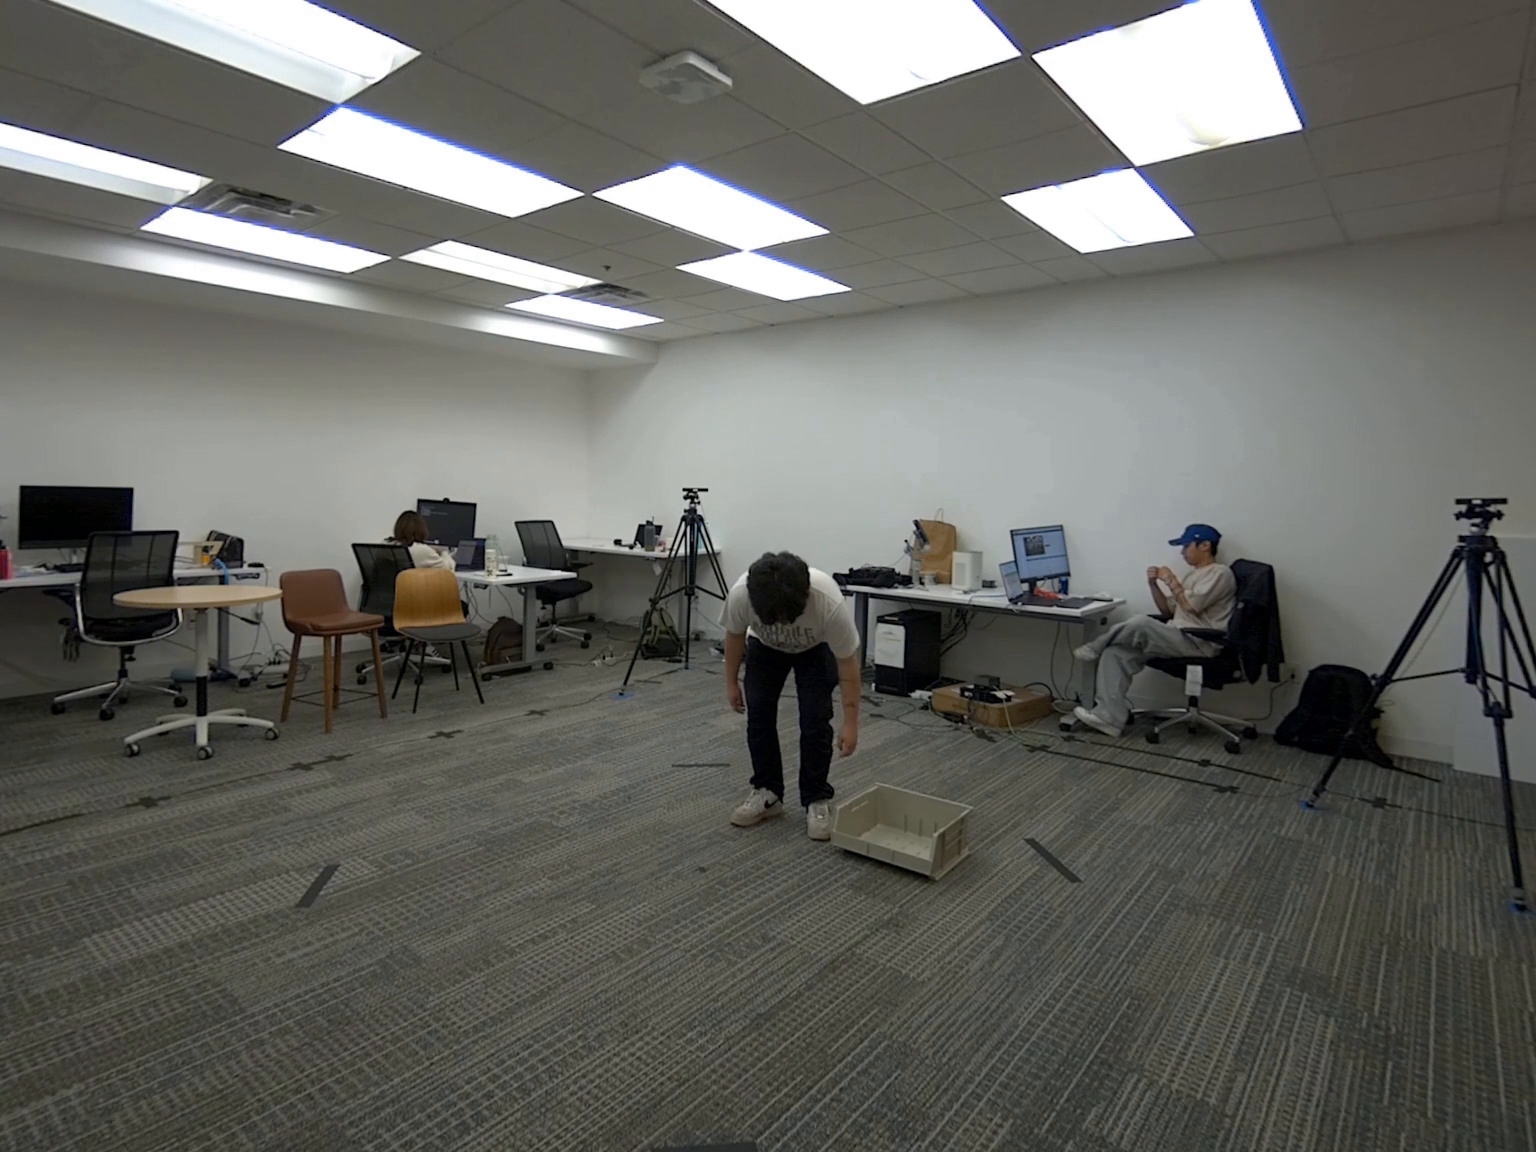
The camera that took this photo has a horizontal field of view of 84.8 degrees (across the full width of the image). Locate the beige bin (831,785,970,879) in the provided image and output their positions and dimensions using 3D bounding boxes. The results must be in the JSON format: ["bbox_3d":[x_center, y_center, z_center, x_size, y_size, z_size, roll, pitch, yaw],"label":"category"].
[{"bbox_3d":[0.513,0.980,3.289,0.436,0.188,0.366,4,5,36],"label":"beige bin"}]
